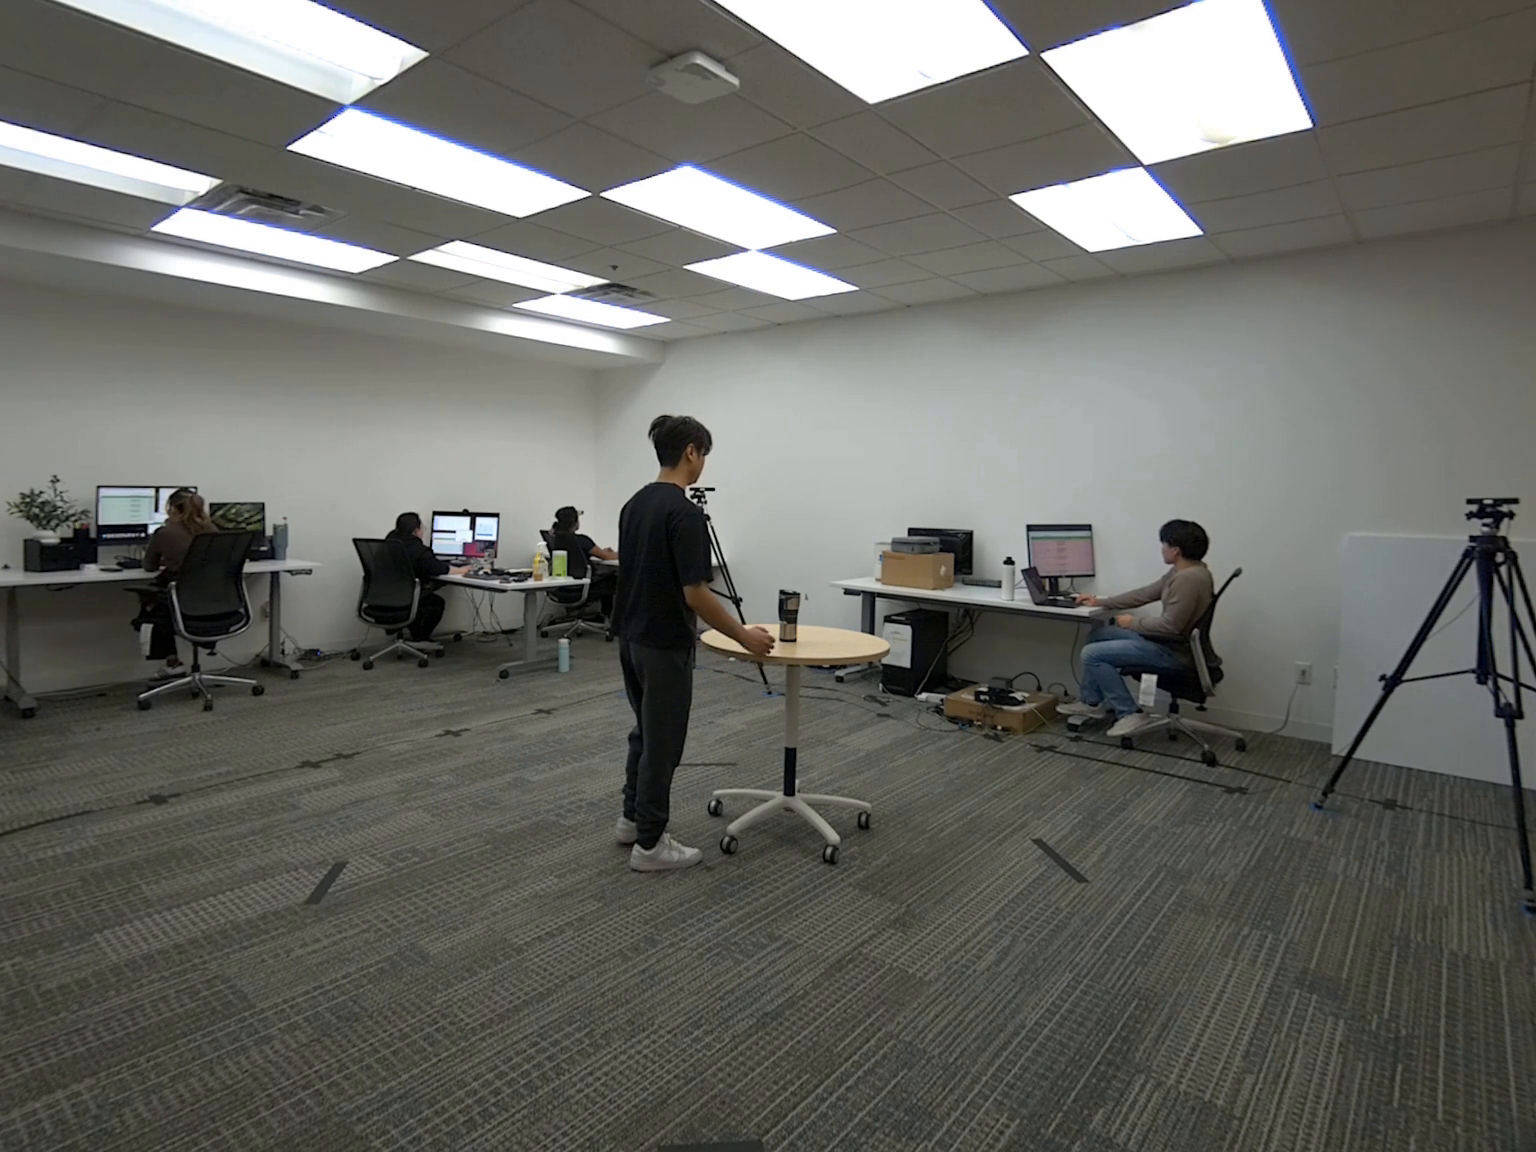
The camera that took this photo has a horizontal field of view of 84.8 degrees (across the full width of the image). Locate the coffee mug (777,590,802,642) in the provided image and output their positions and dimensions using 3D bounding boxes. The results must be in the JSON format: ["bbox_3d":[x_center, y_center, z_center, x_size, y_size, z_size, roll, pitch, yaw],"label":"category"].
[{"bbox_3d":[0.058,0.161,3.409,0.118,0.202,0.091,2,6,-43],"label":"coffee mug"}]
